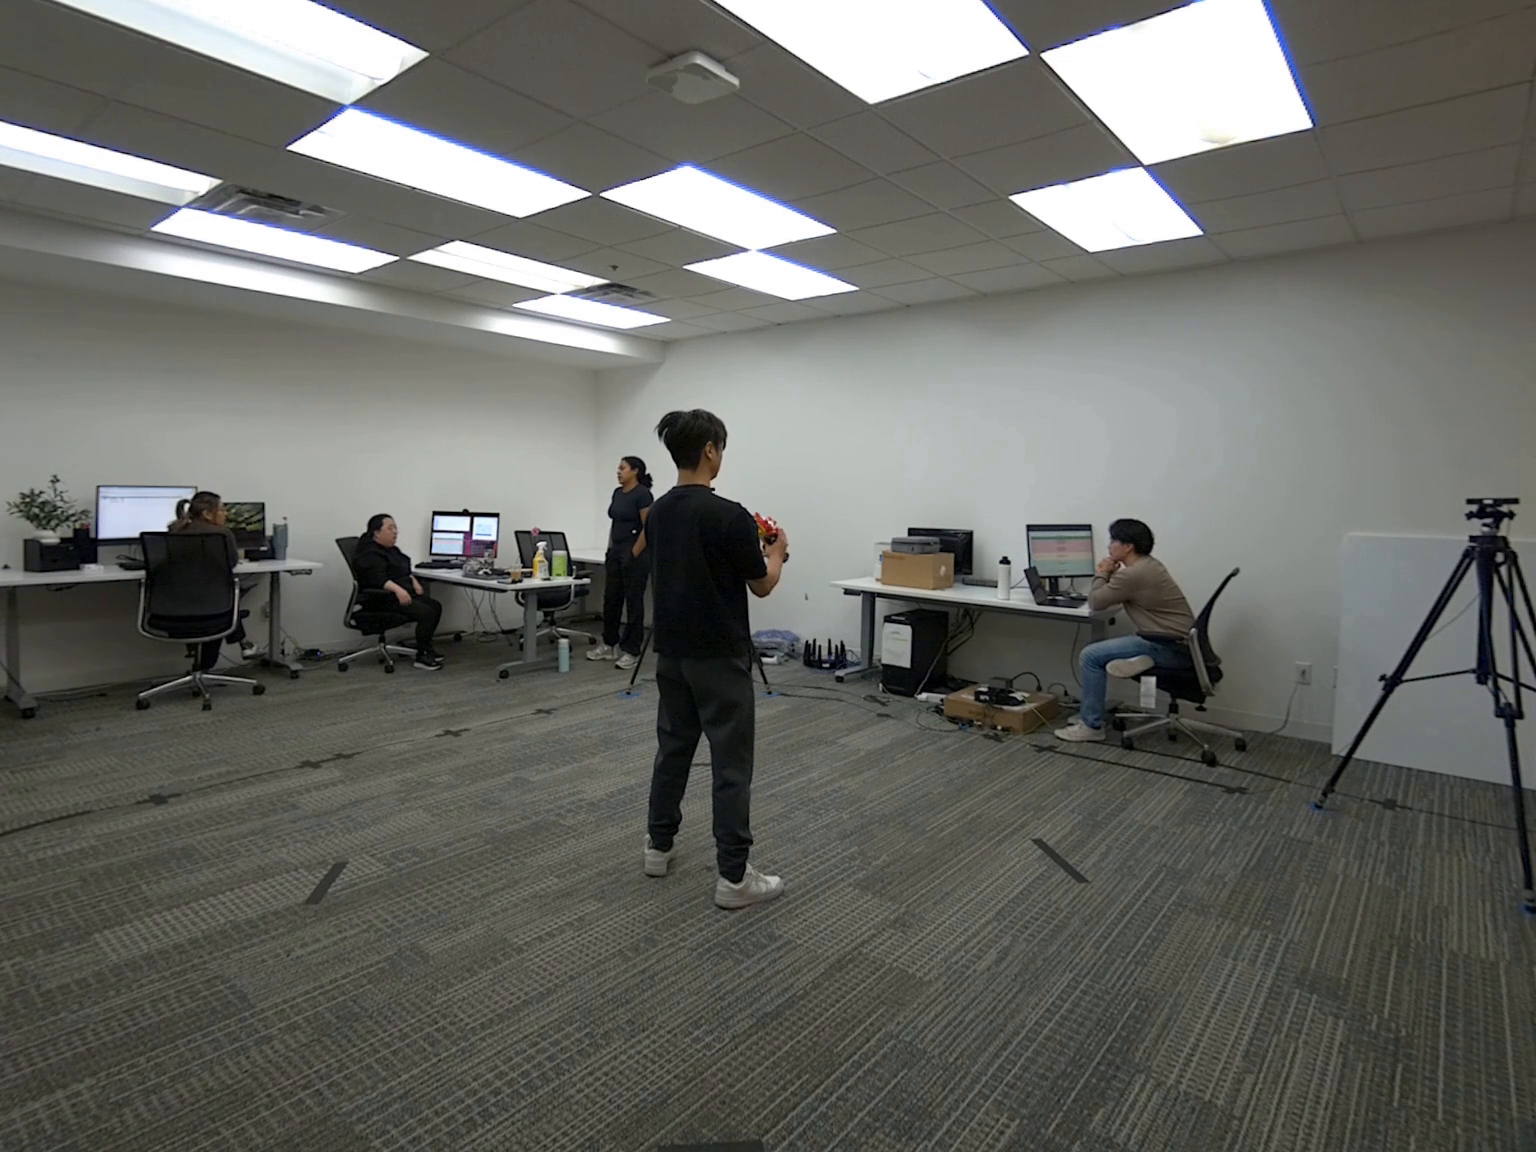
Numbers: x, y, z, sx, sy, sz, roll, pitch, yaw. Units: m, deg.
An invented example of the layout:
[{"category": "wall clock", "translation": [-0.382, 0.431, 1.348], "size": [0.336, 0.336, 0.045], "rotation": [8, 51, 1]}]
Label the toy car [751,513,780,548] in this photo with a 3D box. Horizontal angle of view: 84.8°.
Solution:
[{"category": "toy car", "translation": [-0.005, -0.148, 3.249], "size": [0.083, 0.245, 0.136], "rotation": [-38, 52, -17]}]
